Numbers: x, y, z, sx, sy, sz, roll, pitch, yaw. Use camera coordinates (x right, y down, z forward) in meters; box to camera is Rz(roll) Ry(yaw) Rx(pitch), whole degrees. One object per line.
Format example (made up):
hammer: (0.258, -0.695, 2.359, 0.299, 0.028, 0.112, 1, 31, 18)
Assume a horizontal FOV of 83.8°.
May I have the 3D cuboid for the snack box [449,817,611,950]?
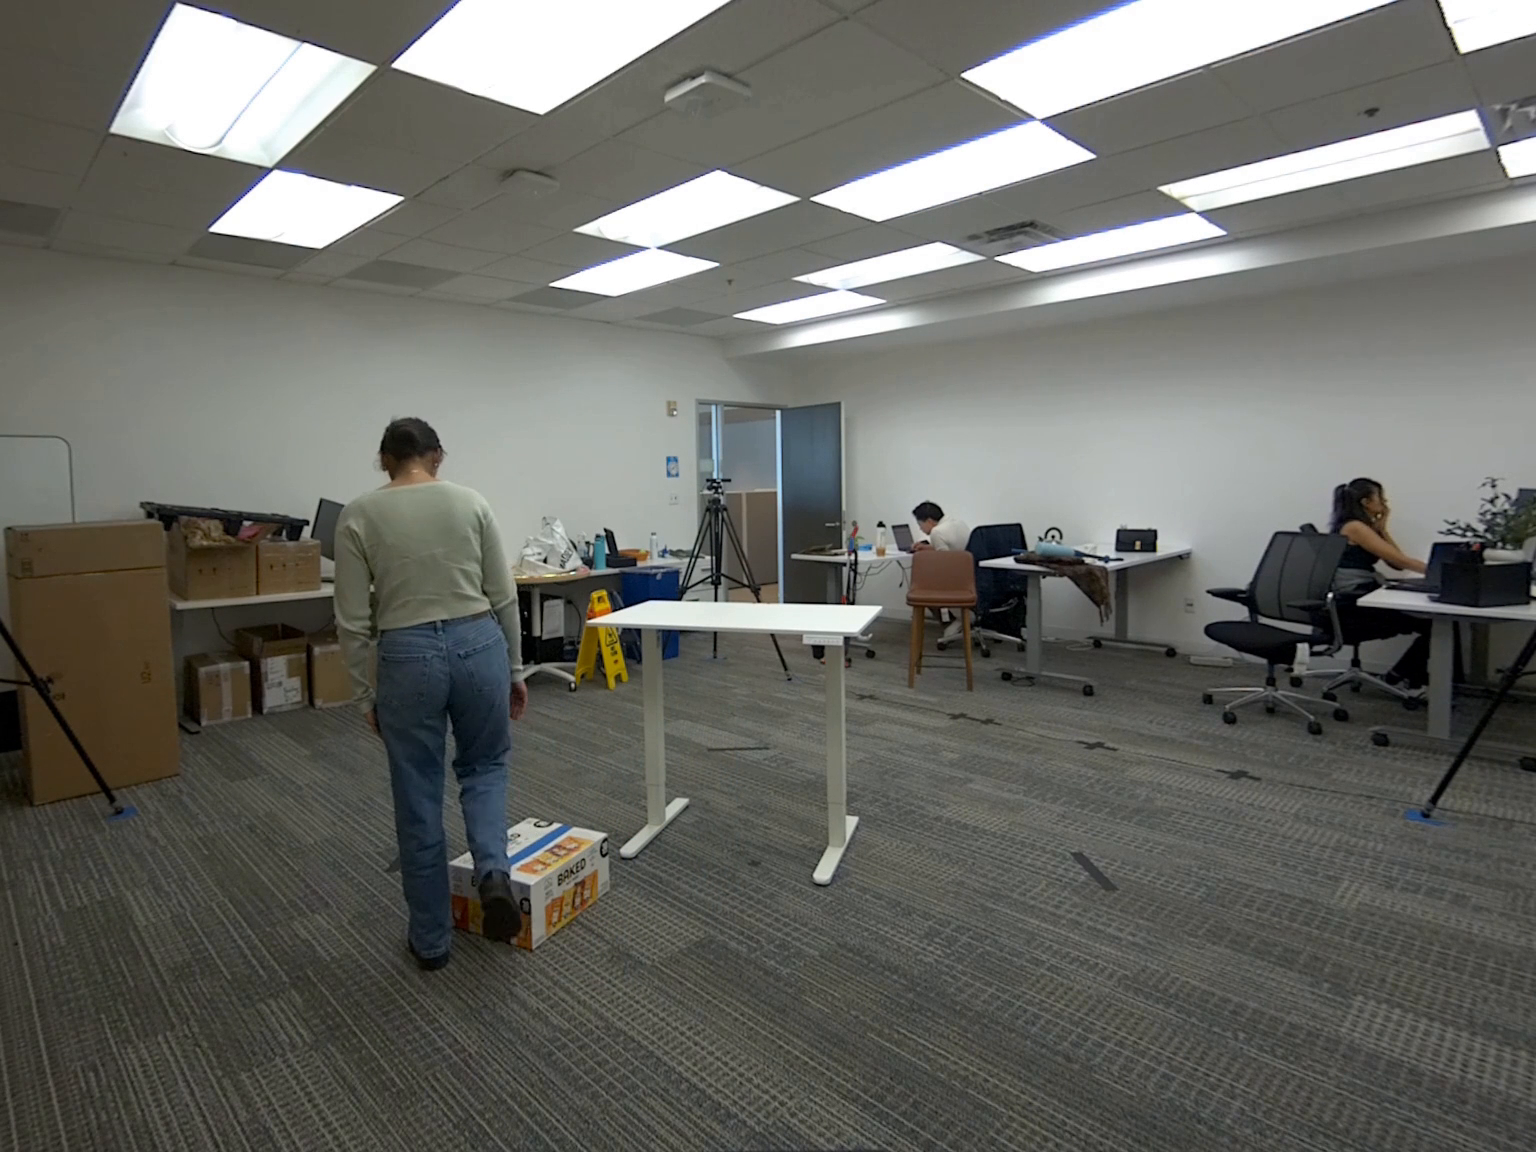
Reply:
snack box: (-0.774, 0.993, 2.802, 0.348, 0.205, 0.398, 2, 7, 25)
